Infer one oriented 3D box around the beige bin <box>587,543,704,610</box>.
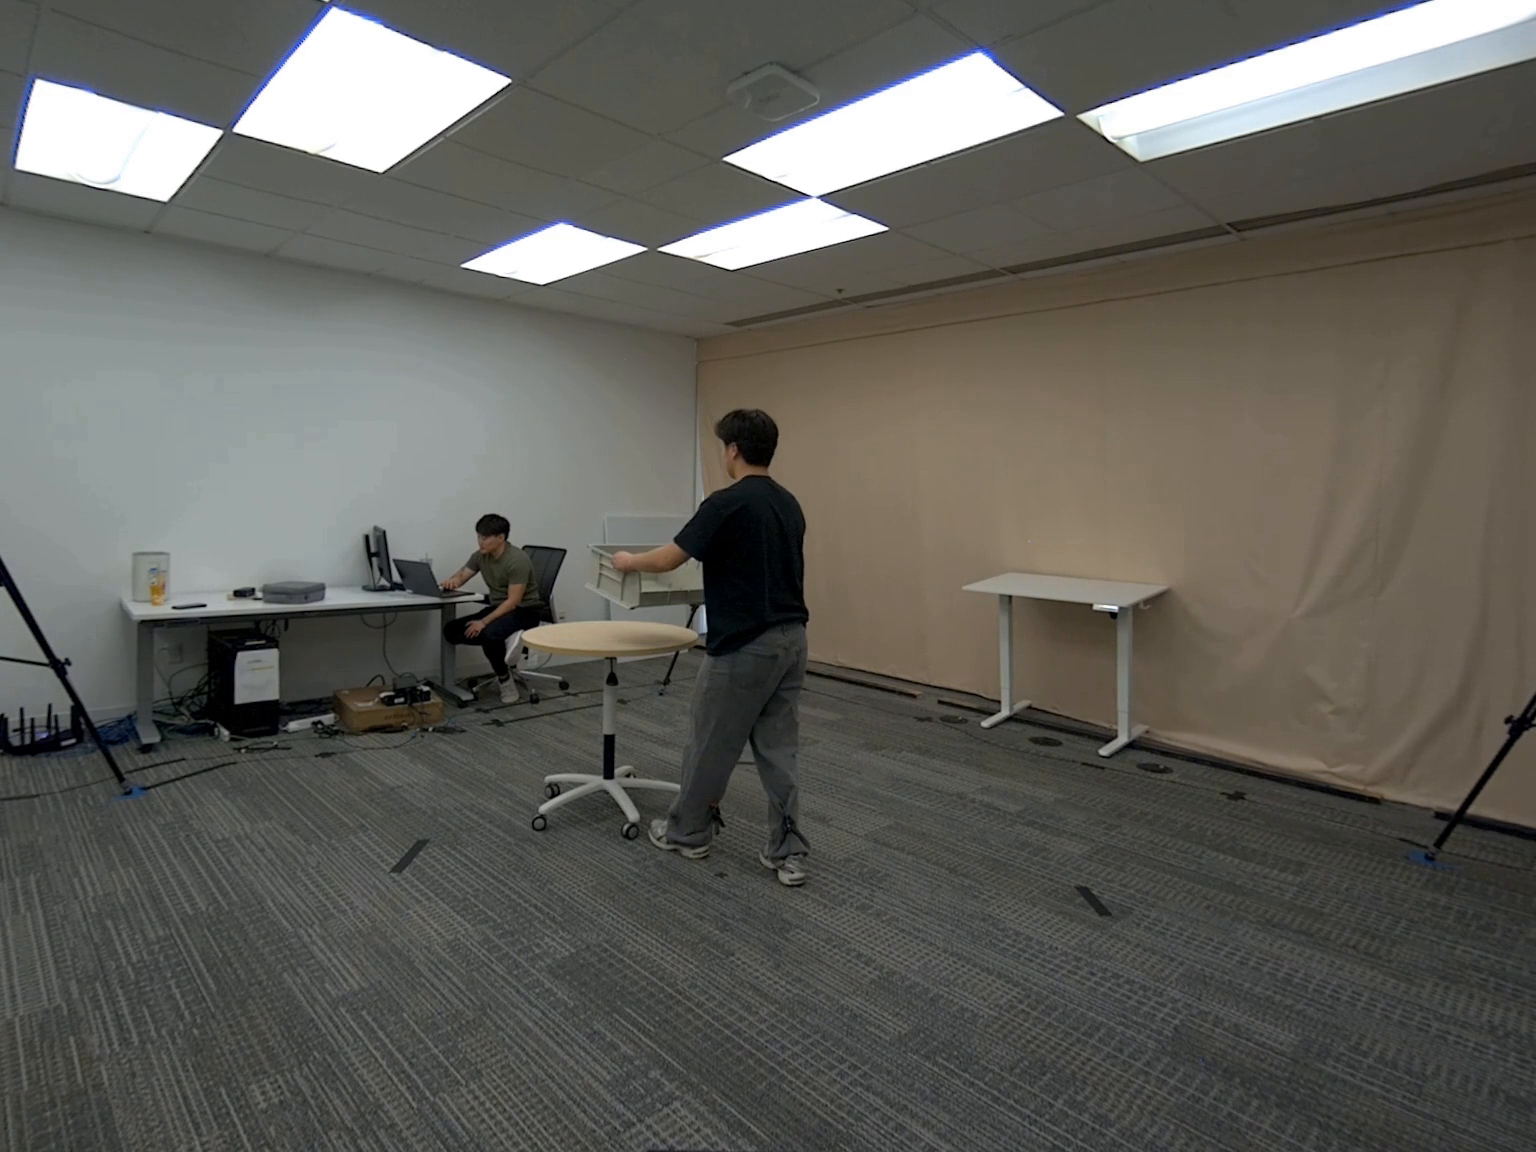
[{"bbox_3d":[-0.487,0.015,3.515,0.413,0.188,0.389,-3,16,-44],"label":"beige bin"}]
